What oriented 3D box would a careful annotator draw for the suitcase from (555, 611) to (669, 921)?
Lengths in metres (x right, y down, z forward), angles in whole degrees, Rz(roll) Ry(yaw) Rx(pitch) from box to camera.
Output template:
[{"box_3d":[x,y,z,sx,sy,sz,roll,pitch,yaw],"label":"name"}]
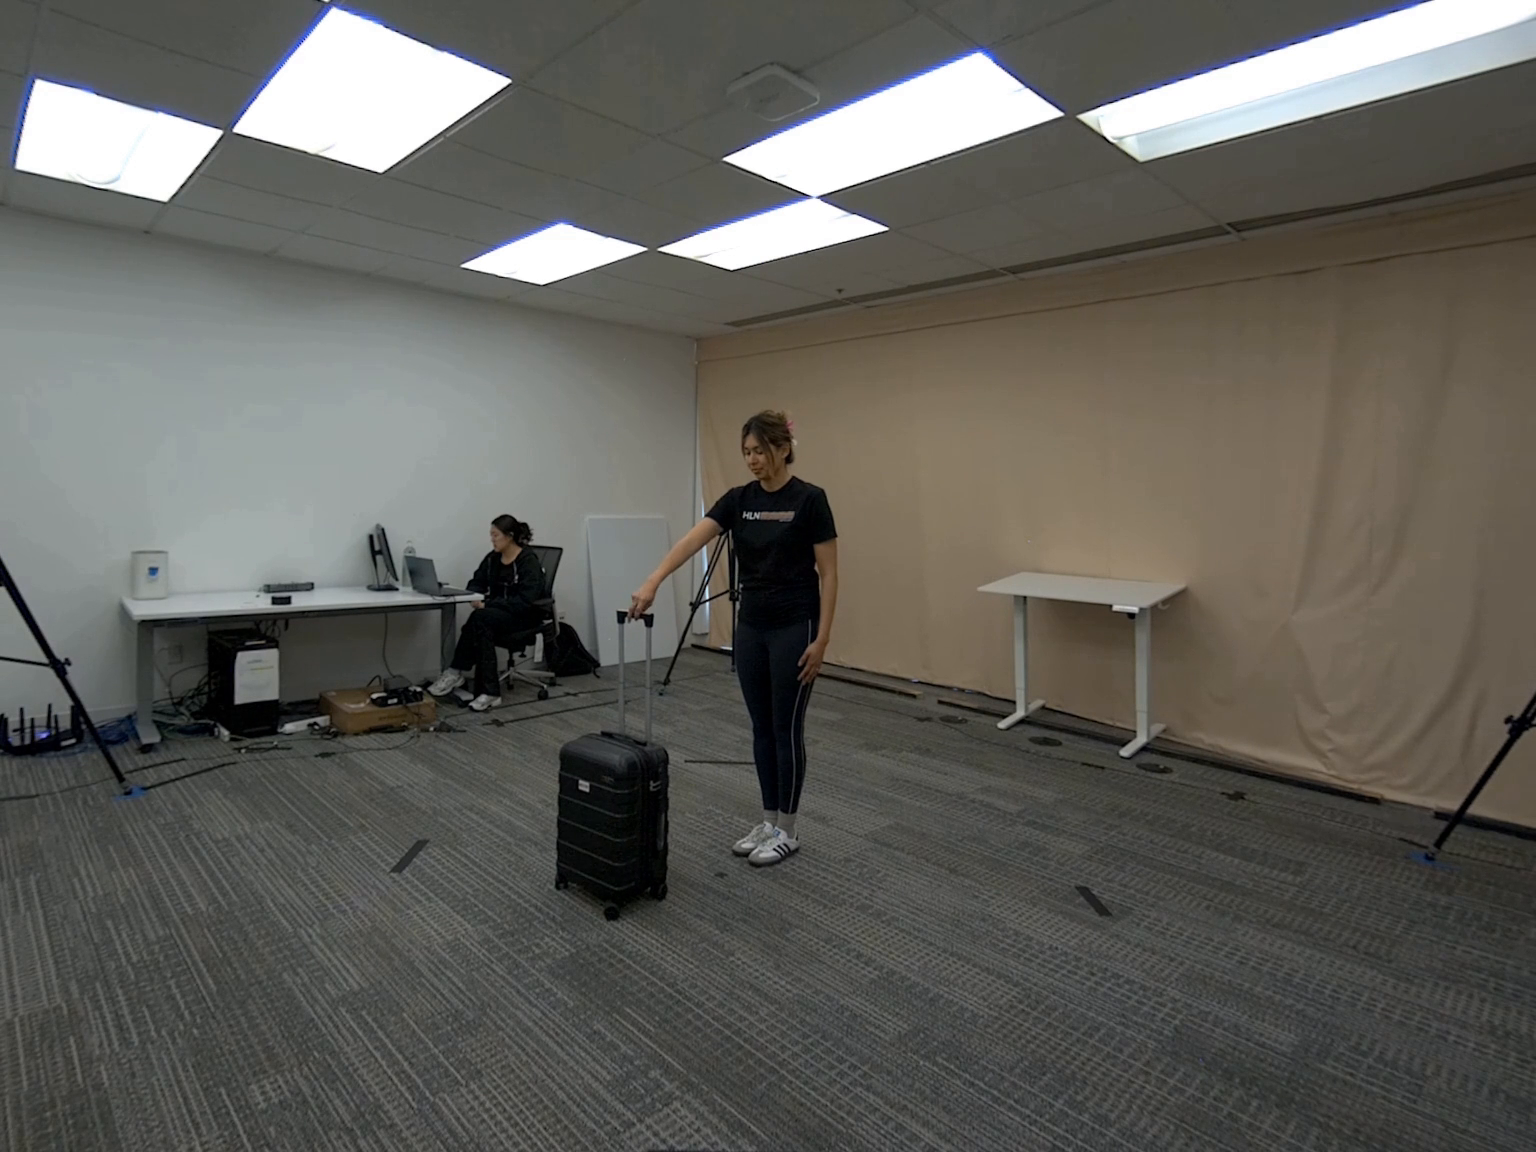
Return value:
[{"box_3d":[-0.545,0.638,2.909,0.394,0.975,0.251,5,6,39],"label":"suitcase"}]
